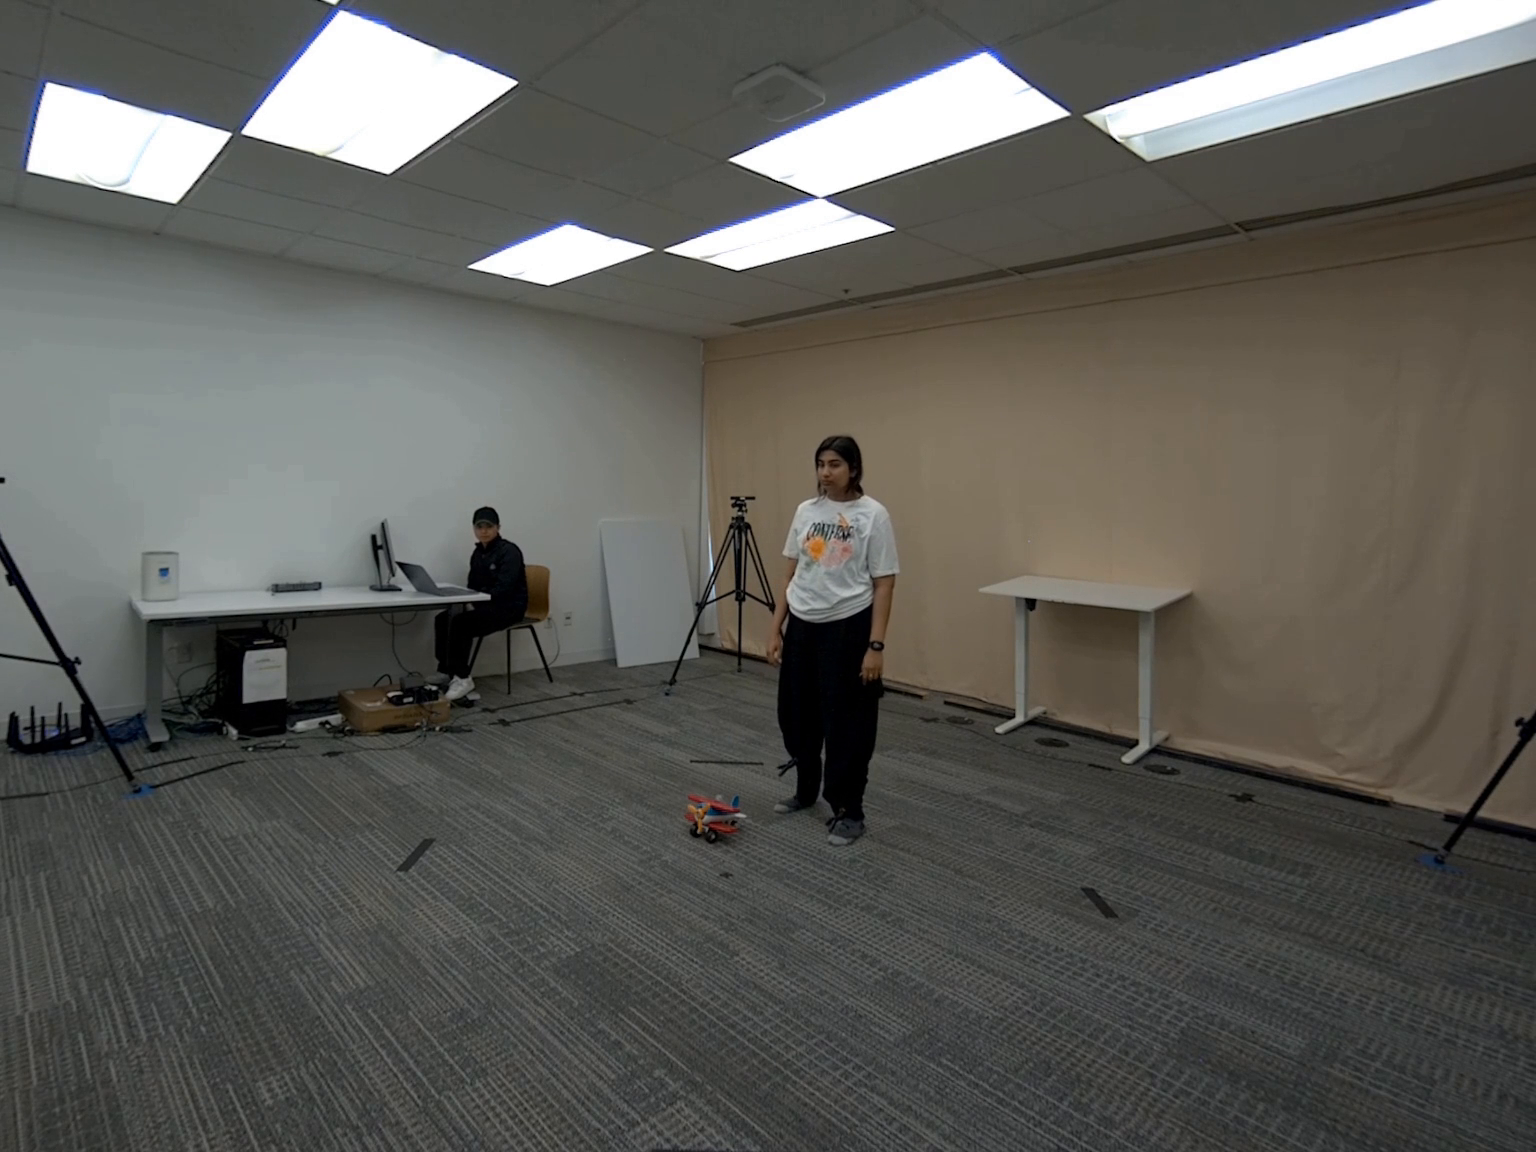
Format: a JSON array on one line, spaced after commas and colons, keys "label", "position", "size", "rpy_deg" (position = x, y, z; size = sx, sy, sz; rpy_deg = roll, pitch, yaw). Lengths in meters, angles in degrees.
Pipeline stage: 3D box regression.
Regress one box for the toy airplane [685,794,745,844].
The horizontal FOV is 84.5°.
[{"label": "toy airplane", "position": [-0.233, 0.991, 3.496], "size": [0.253, 0.156, 0.258], "rpy_deg": [1, 5, 10]}]
